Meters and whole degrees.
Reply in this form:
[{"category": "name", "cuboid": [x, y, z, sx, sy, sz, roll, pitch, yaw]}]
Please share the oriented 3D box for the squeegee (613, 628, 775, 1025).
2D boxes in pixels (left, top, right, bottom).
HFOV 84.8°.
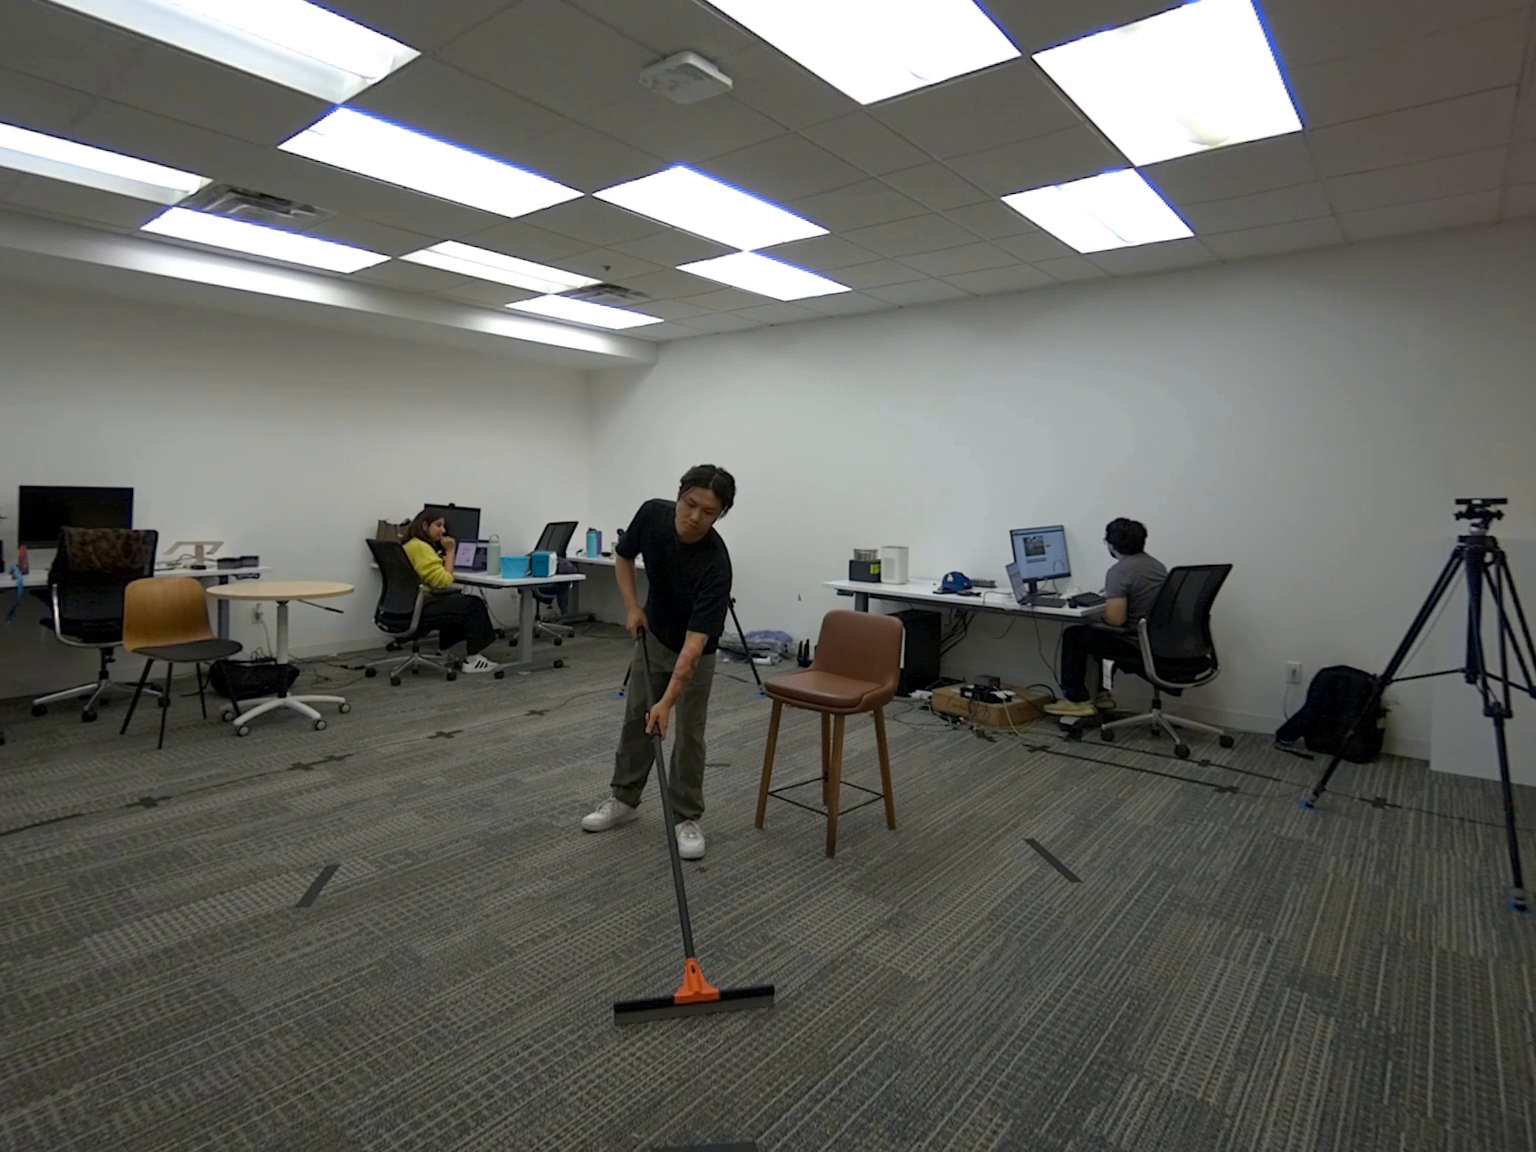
[{"category": "squeegee", "cuboid": [-0.308, 0.627, 2.814, 0.431, 0.052, 1.592, 0, 40, -13]}]
